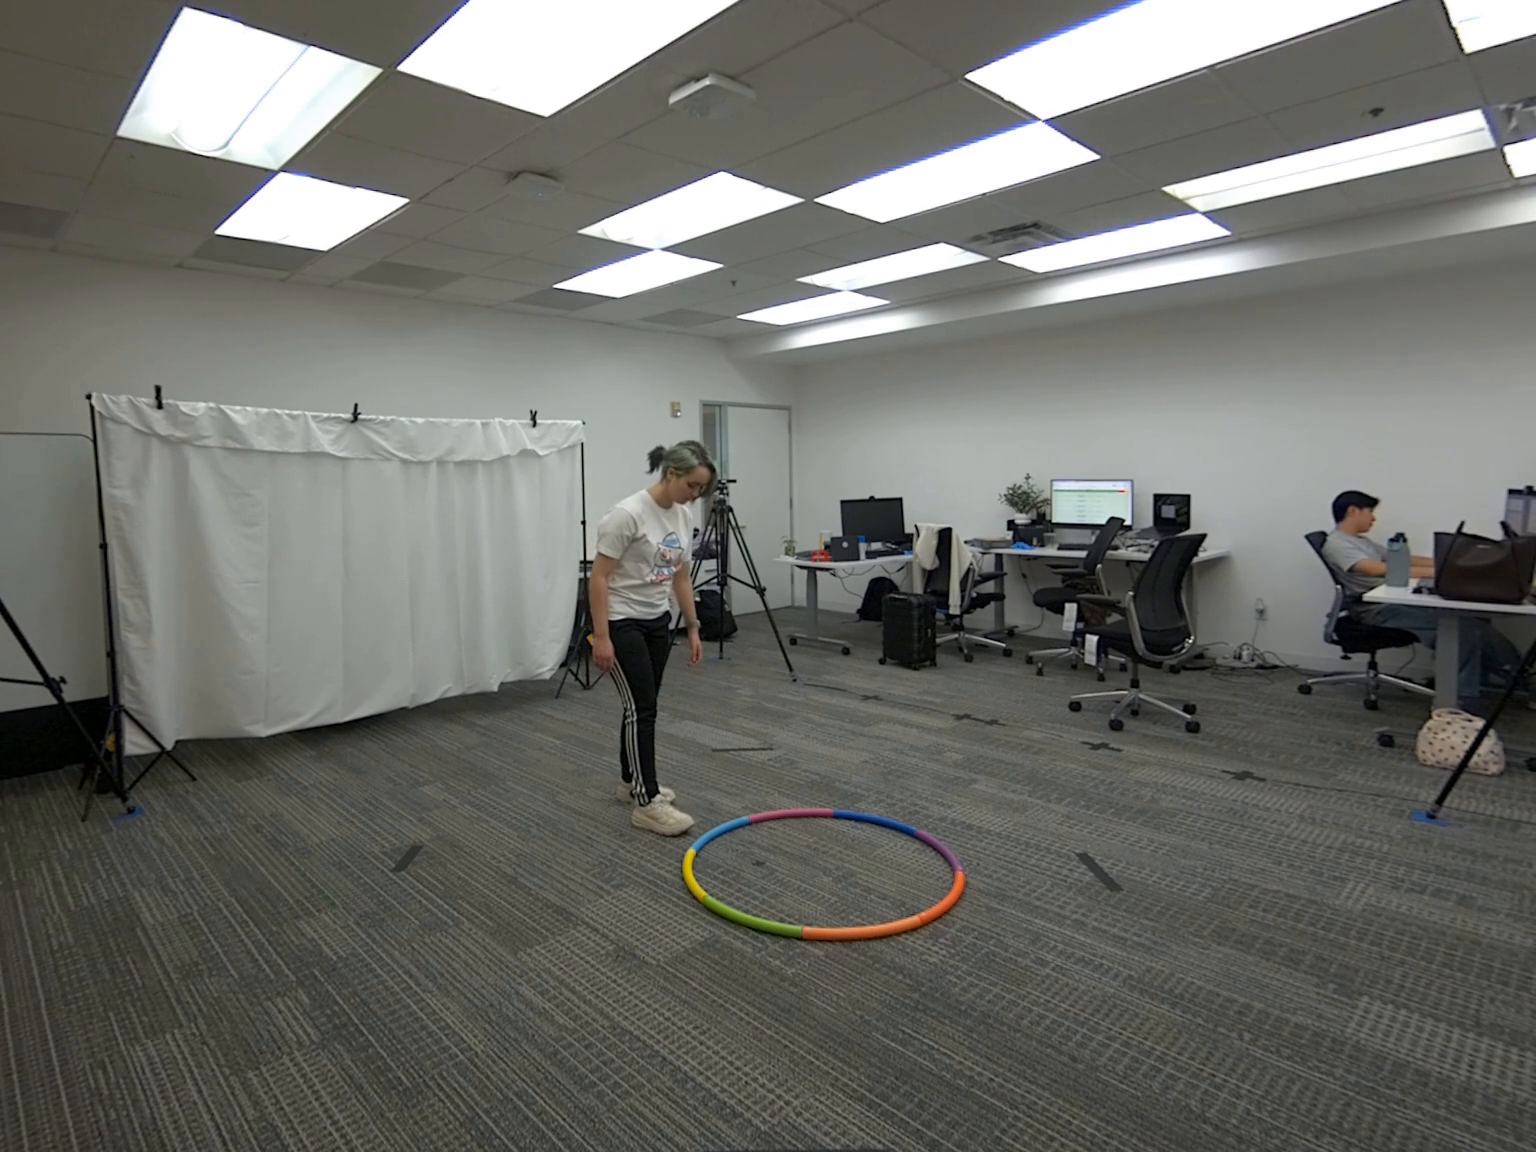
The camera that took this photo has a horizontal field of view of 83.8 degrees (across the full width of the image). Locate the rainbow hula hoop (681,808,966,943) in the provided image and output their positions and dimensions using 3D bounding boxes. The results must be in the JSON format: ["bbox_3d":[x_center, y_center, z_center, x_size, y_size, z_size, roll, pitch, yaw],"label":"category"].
[{"bbox_3d":[0.186,1.018,3.056,0.978,0.035,0.984,-1,7,-2],"label":"rainbow hula hoop"}]
